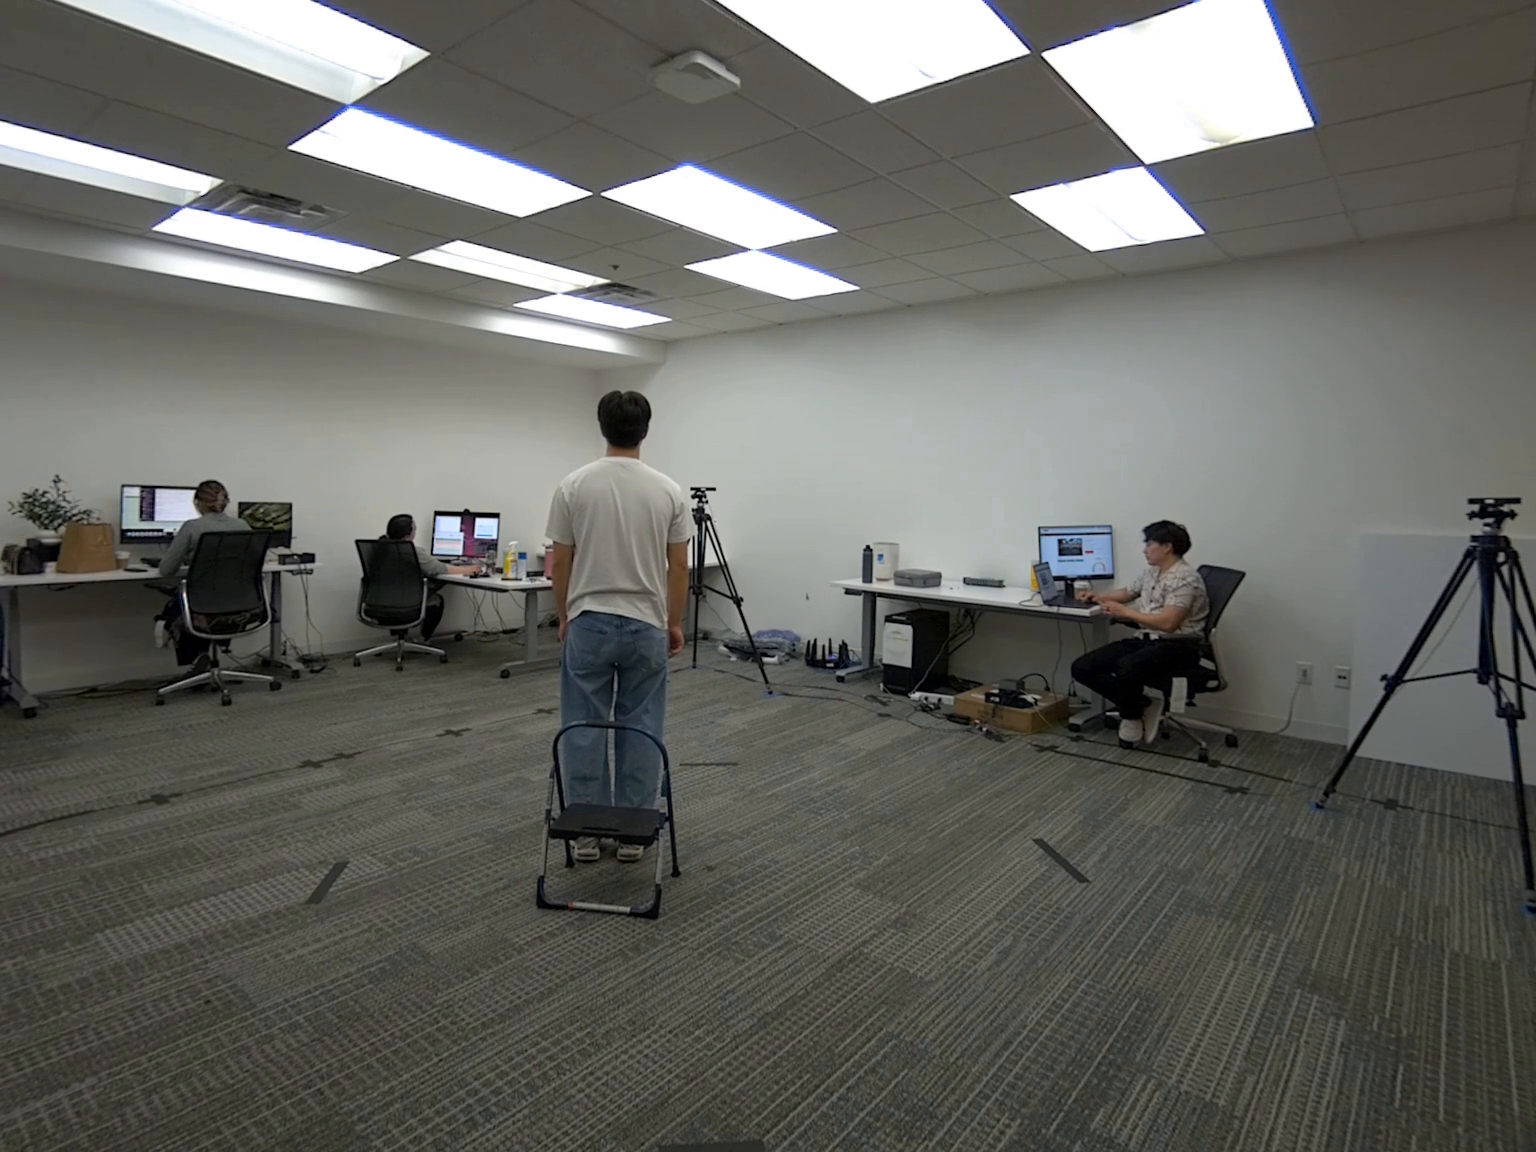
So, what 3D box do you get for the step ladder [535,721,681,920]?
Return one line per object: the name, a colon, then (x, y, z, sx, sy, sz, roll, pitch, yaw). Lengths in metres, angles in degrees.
step ladder: (-0.550, 0.777, 2.911, 0.434, 0.604, 0.347, 1, 3, 7)
